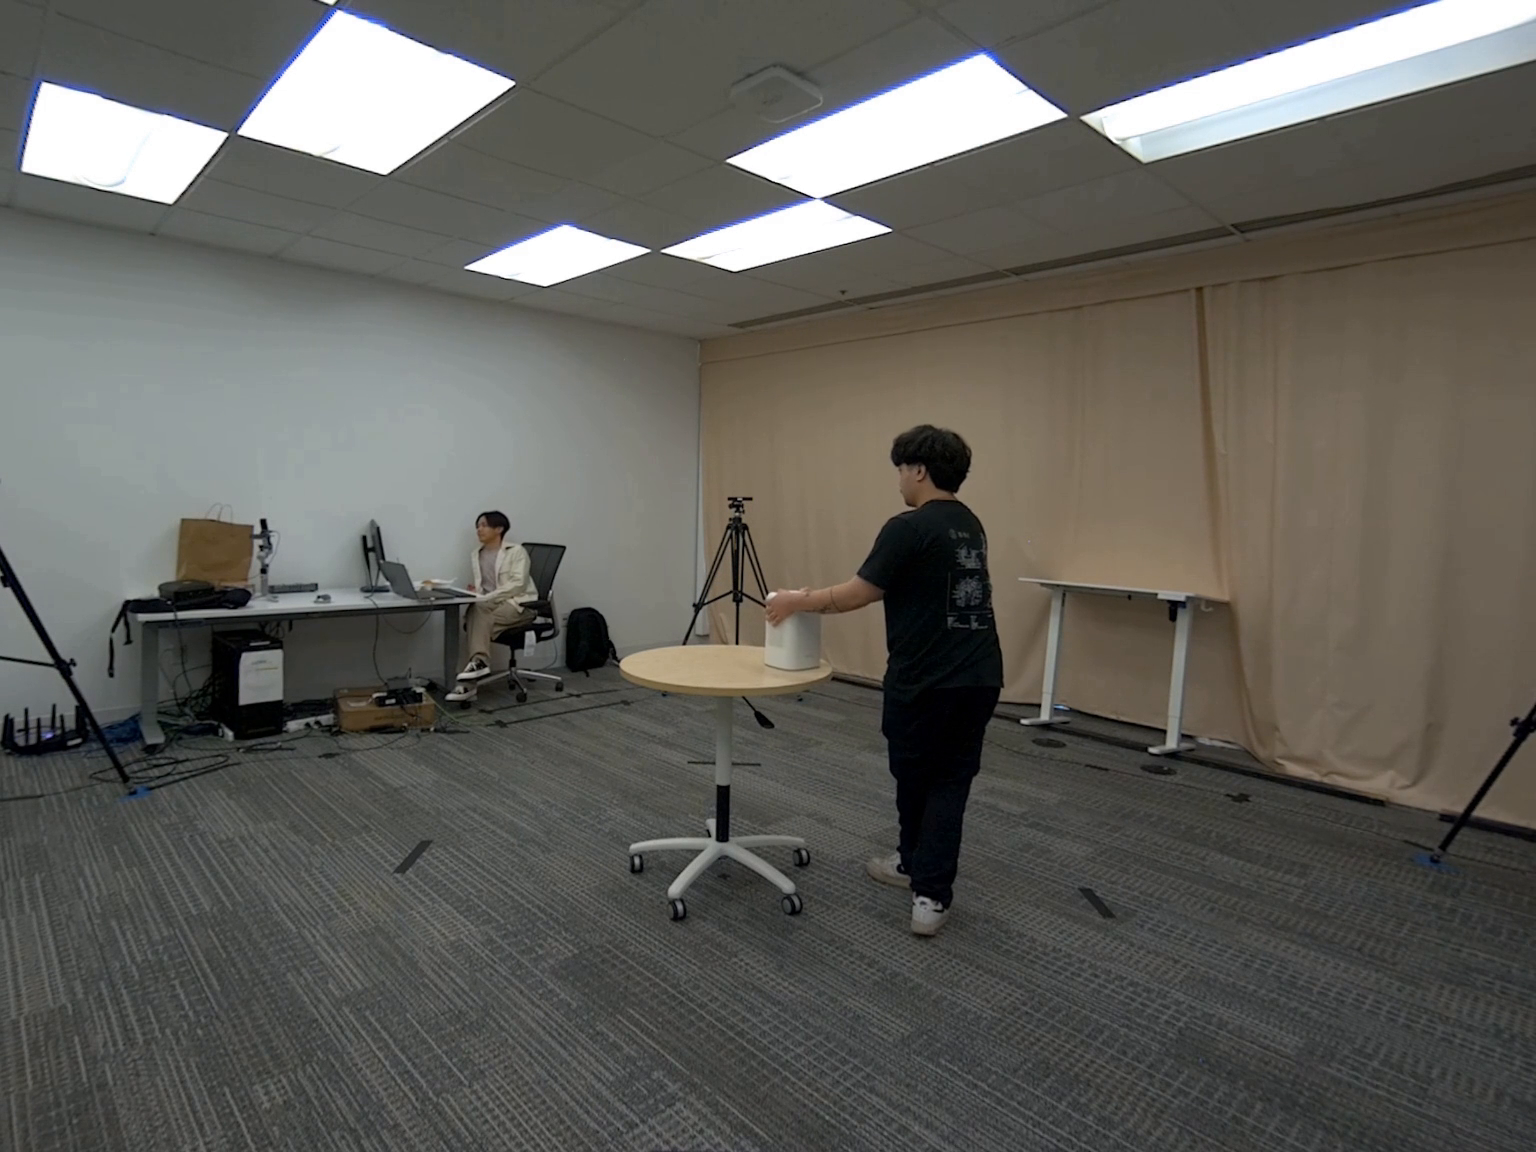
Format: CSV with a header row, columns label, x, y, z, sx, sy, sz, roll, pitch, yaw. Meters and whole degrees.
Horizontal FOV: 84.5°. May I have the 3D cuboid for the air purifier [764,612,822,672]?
label,x,y,z,sx,sy,sz,roll,pitch,yaw
air purifier,0.081,0.192,3.041,0.167,0.265,0.176,1,5,-38
